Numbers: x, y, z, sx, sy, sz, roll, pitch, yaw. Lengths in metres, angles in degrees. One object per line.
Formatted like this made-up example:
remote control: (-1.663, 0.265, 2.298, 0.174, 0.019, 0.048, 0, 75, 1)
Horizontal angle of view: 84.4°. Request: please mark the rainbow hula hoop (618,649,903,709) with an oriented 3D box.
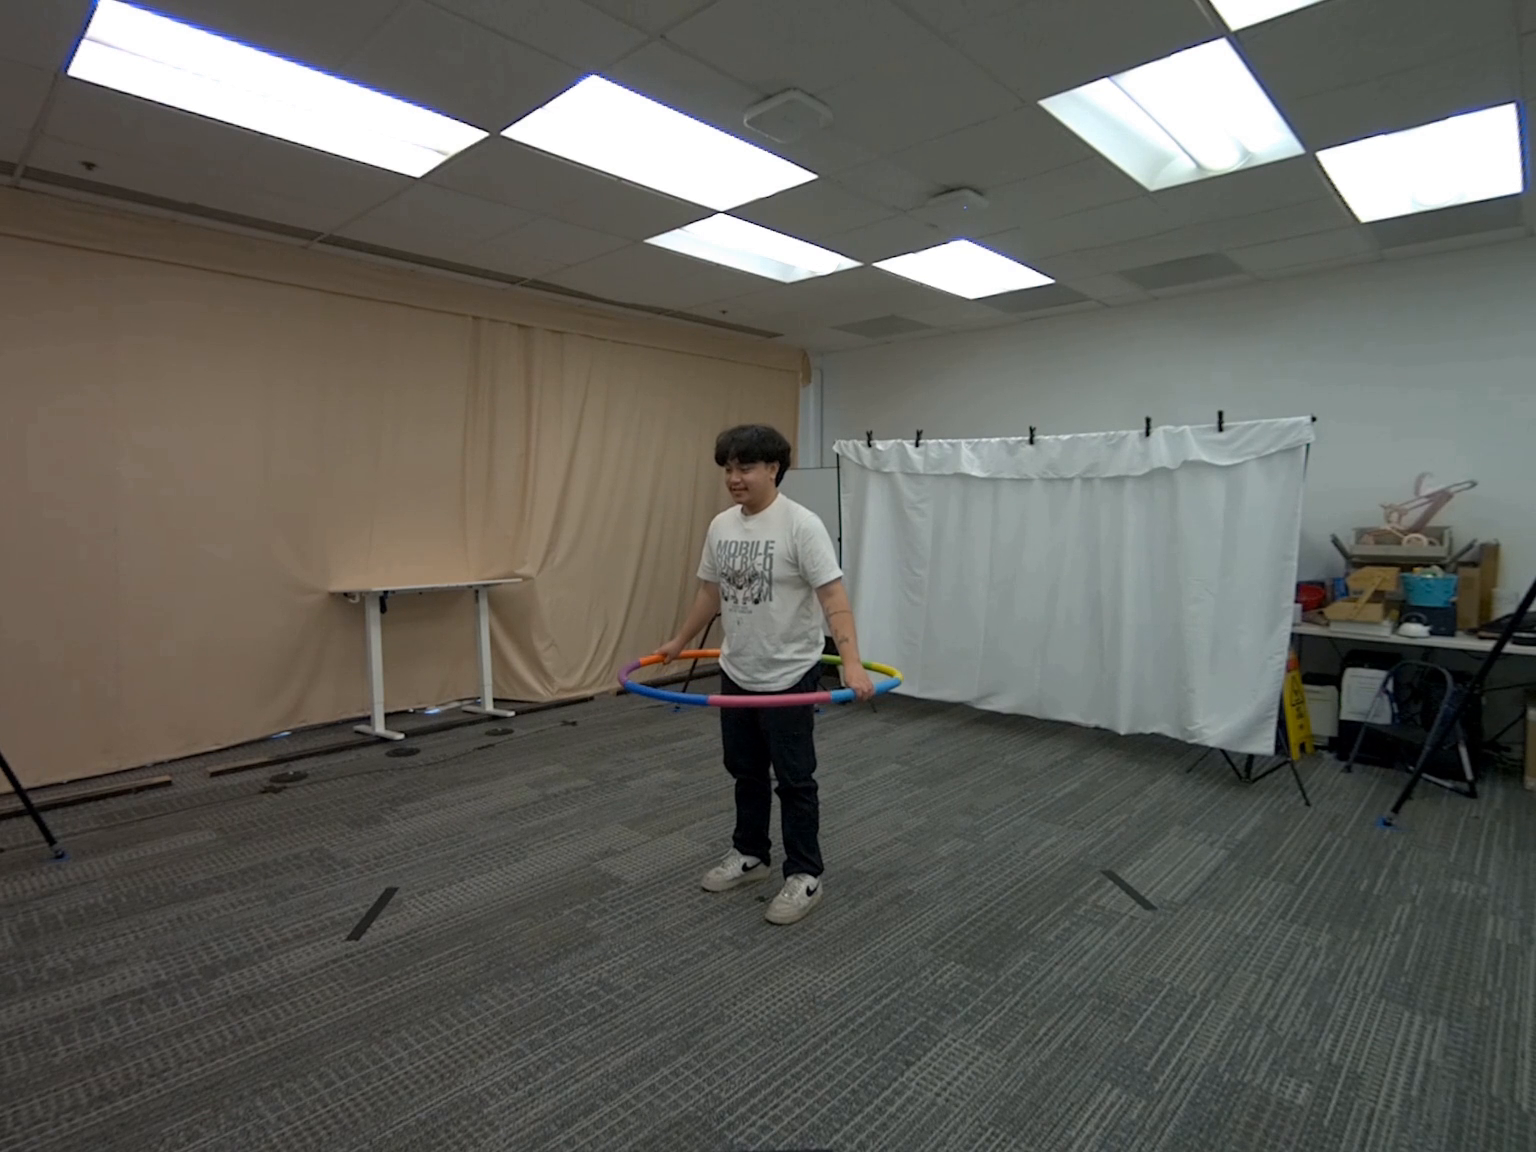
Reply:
rainbow hula hoop: (-0.026, 0.339, 2.941, 0.984, 0.051, 0.988, 0, 3, -2)
